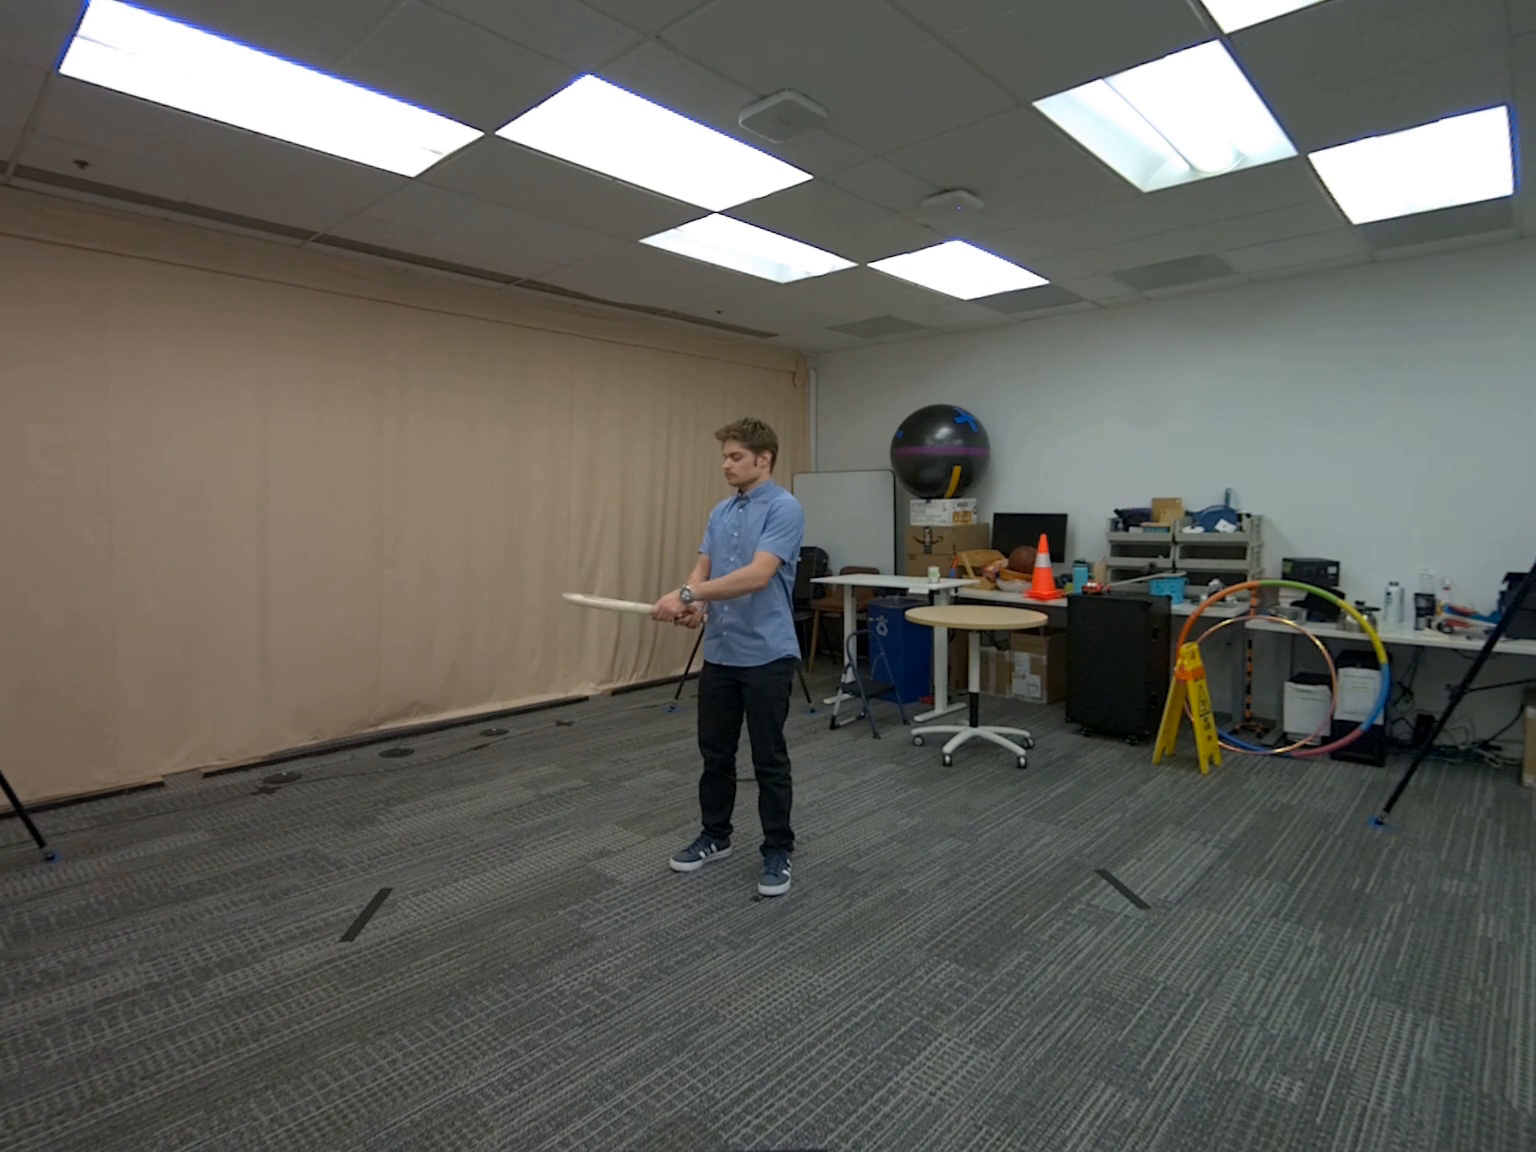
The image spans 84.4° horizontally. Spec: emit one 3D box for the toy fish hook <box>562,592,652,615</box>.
[{"bbox_3d":[-0.445,0.112,3.005,0.497,0.048,0.228,10,0,-16],"label":"toy fish hook"}]
